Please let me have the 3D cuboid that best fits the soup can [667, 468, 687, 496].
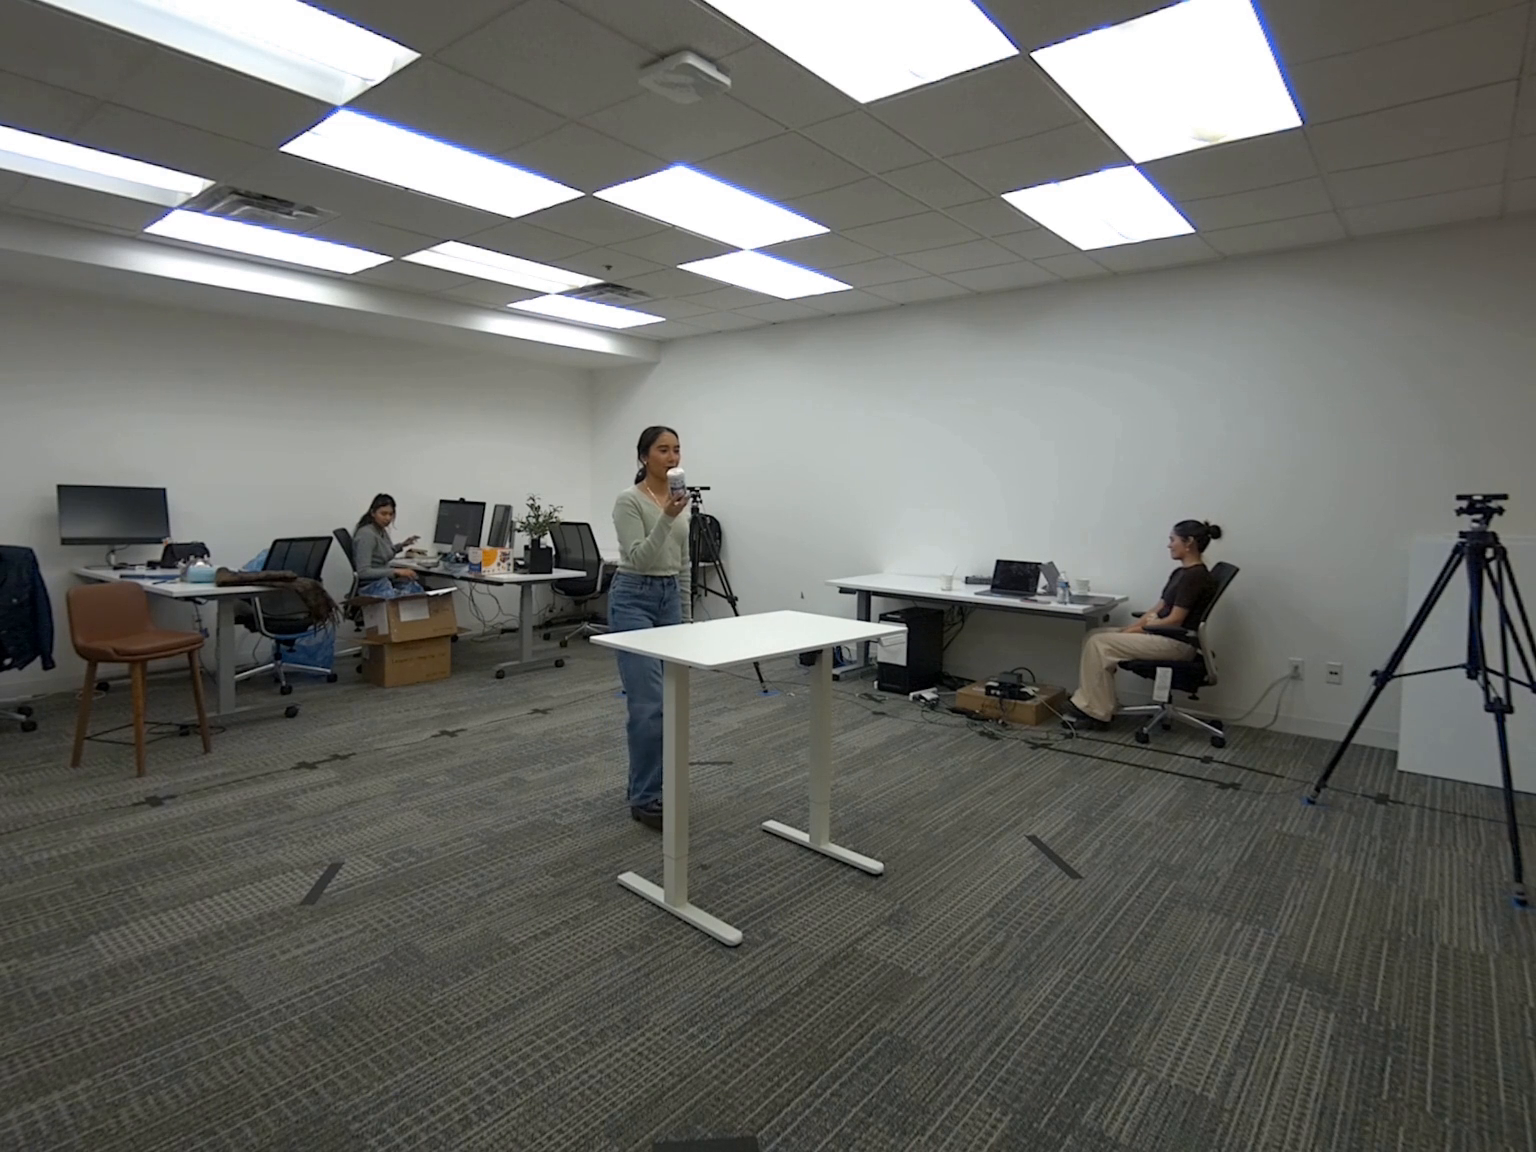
[{"bbox_3d":[-0.374,-0.365,3.344,0.067,0.118,0.069,-1,30,-1],"label":"soup can"}]
